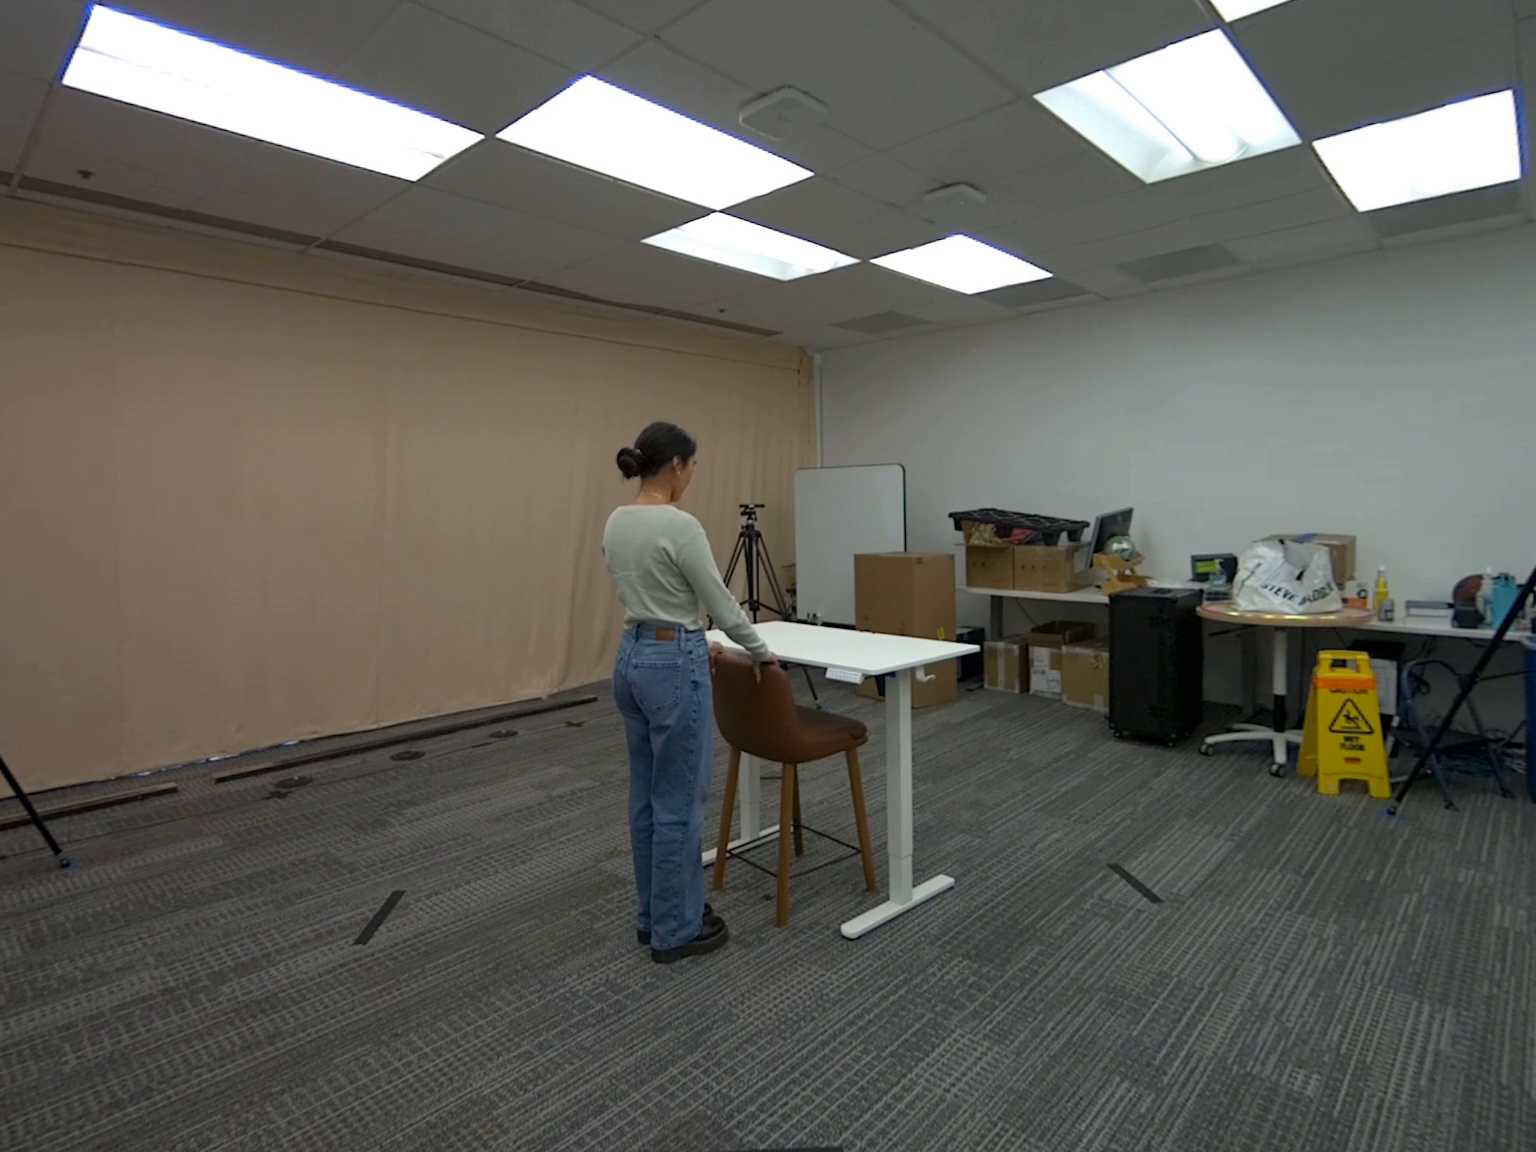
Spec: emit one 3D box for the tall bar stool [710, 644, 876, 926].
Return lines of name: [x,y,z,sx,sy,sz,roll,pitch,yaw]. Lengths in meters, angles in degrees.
tall bar stool: [0.073,0.701,3.017,0.454,0.886,0.471,-7,7,-38]
